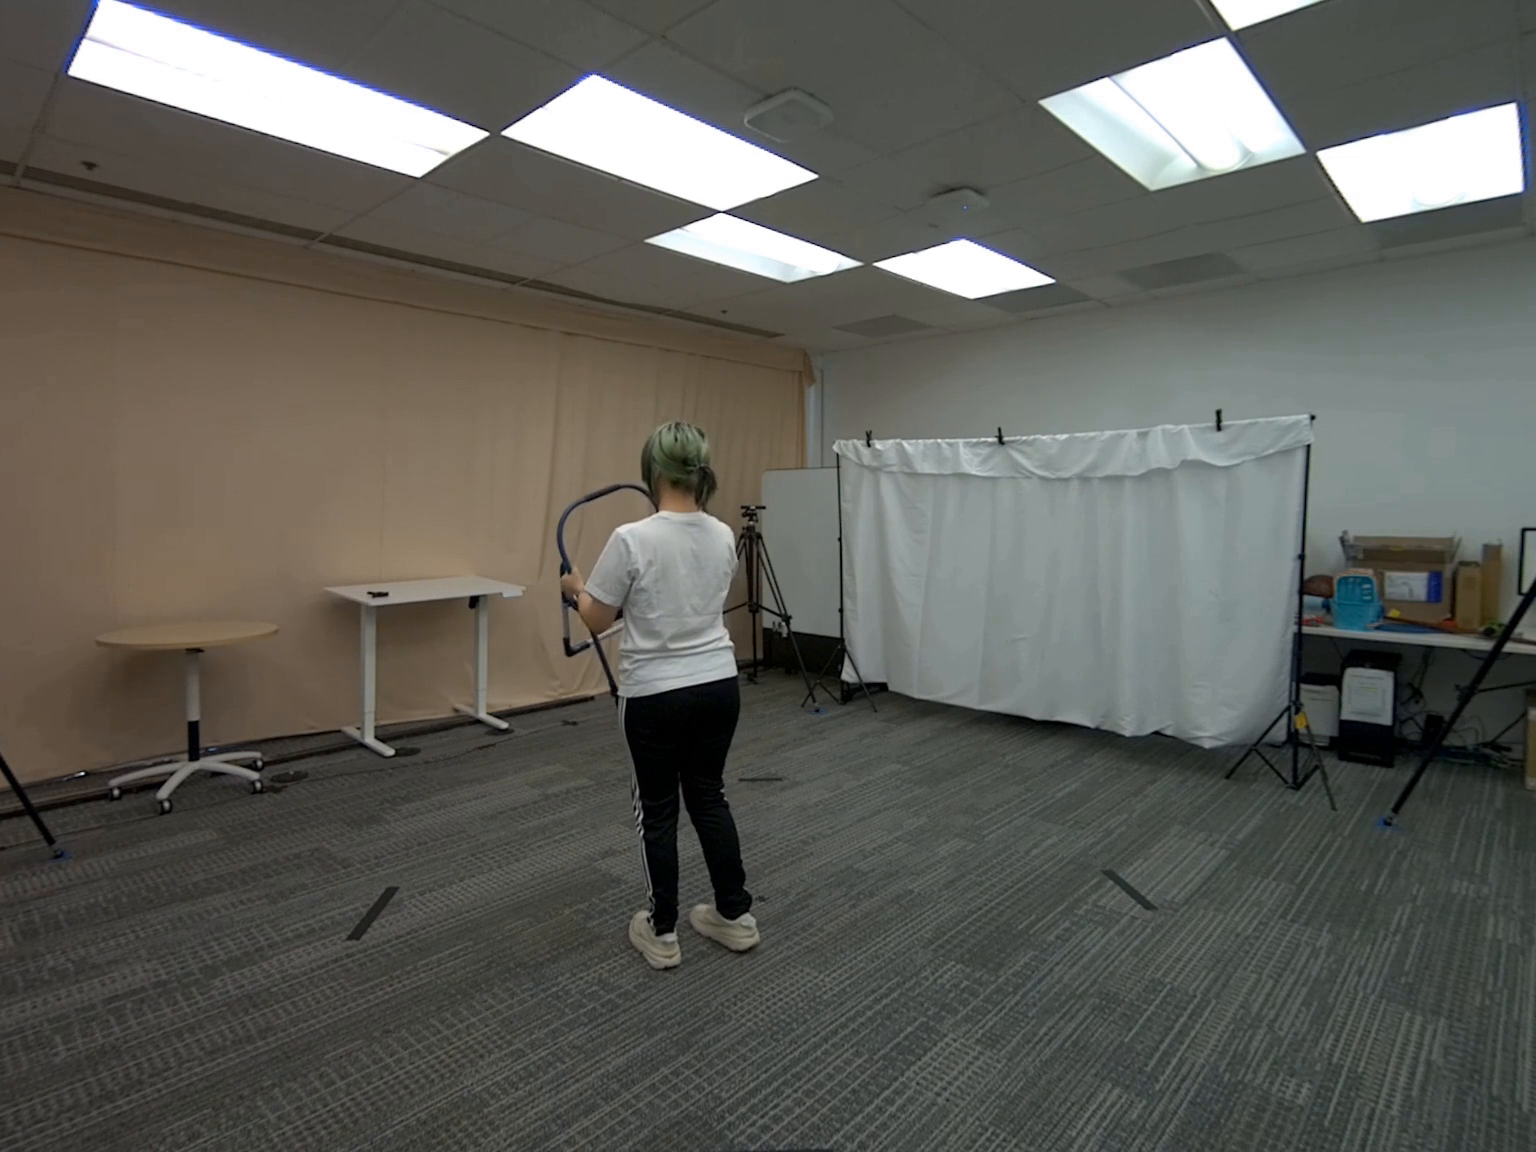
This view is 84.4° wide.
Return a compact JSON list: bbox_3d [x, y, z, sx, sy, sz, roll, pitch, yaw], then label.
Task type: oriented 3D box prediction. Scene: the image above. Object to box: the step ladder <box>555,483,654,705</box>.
[{"bbox_3d":[-0.491,0.003,2.887,0.422,0.595,0.362,-25,34,-34],"label":"step ladder"}]
